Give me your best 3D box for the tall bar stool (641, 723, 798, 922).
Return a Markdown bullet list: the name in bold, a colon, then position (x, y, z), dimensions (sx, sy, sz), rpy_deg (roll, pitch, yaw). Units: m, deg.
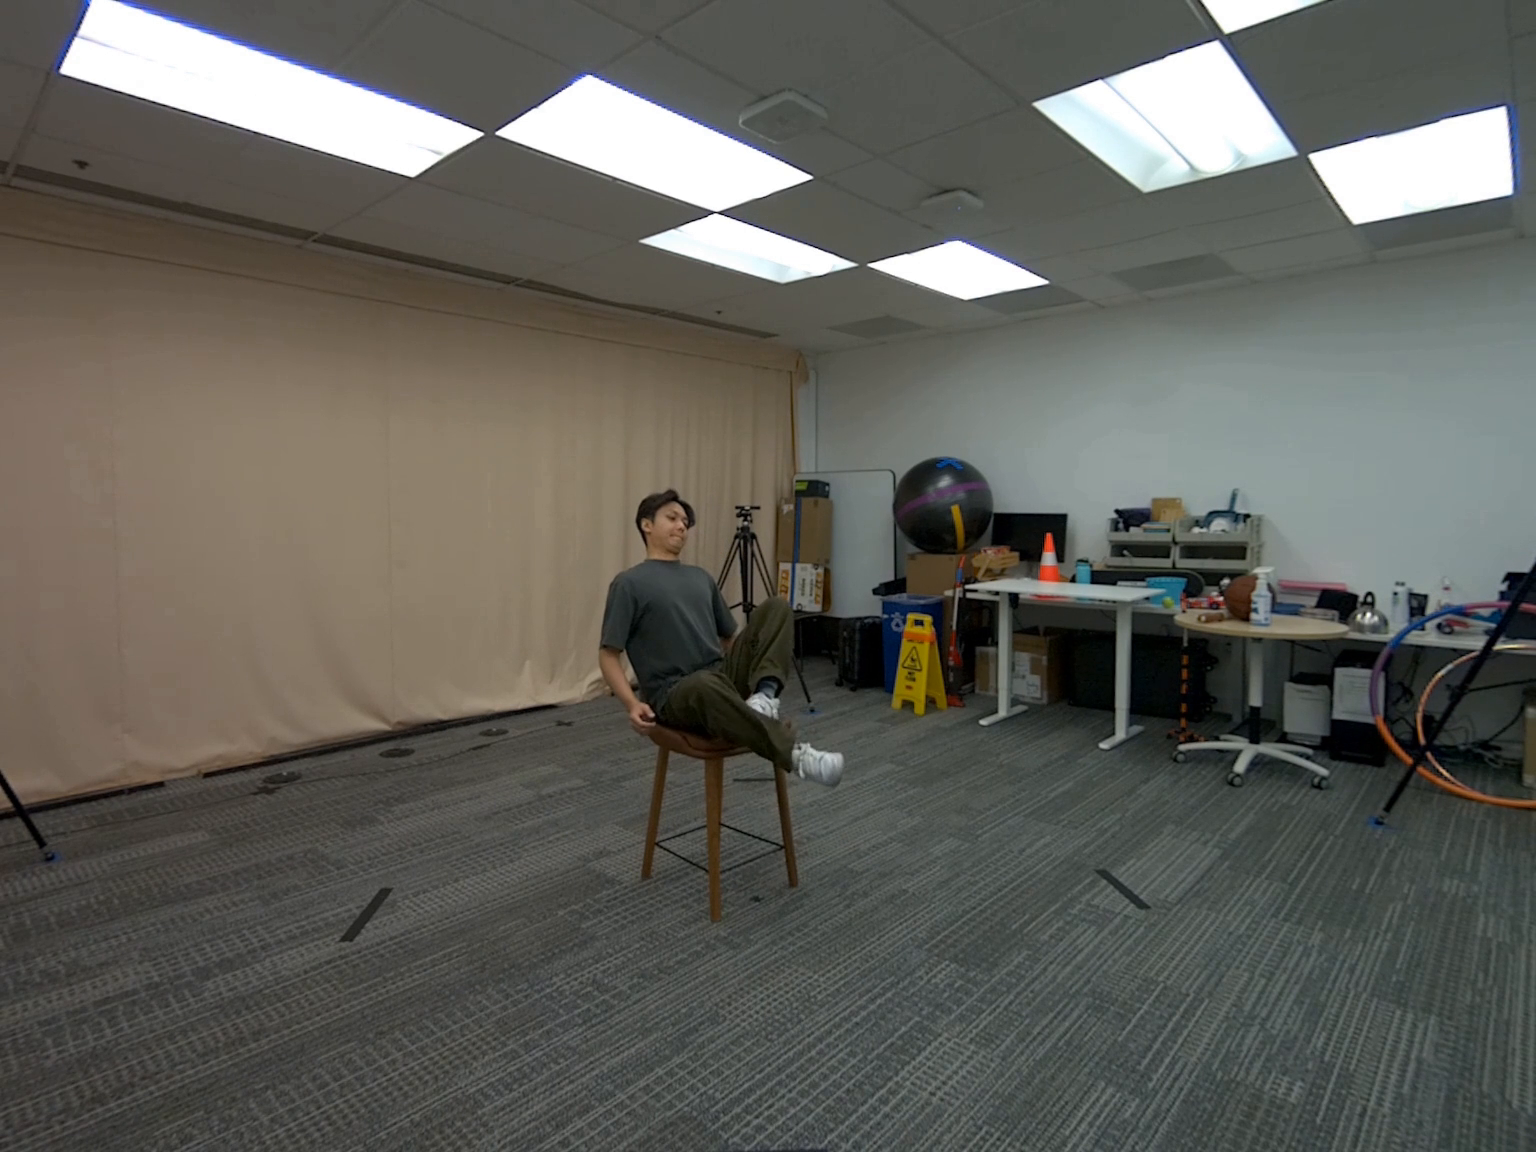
- **tall bar stool**: position (-0.193, 0.701, 3.098), dimensions (0.442, 0.889, 0.483), rpy_deg (-3, 2, -42)
